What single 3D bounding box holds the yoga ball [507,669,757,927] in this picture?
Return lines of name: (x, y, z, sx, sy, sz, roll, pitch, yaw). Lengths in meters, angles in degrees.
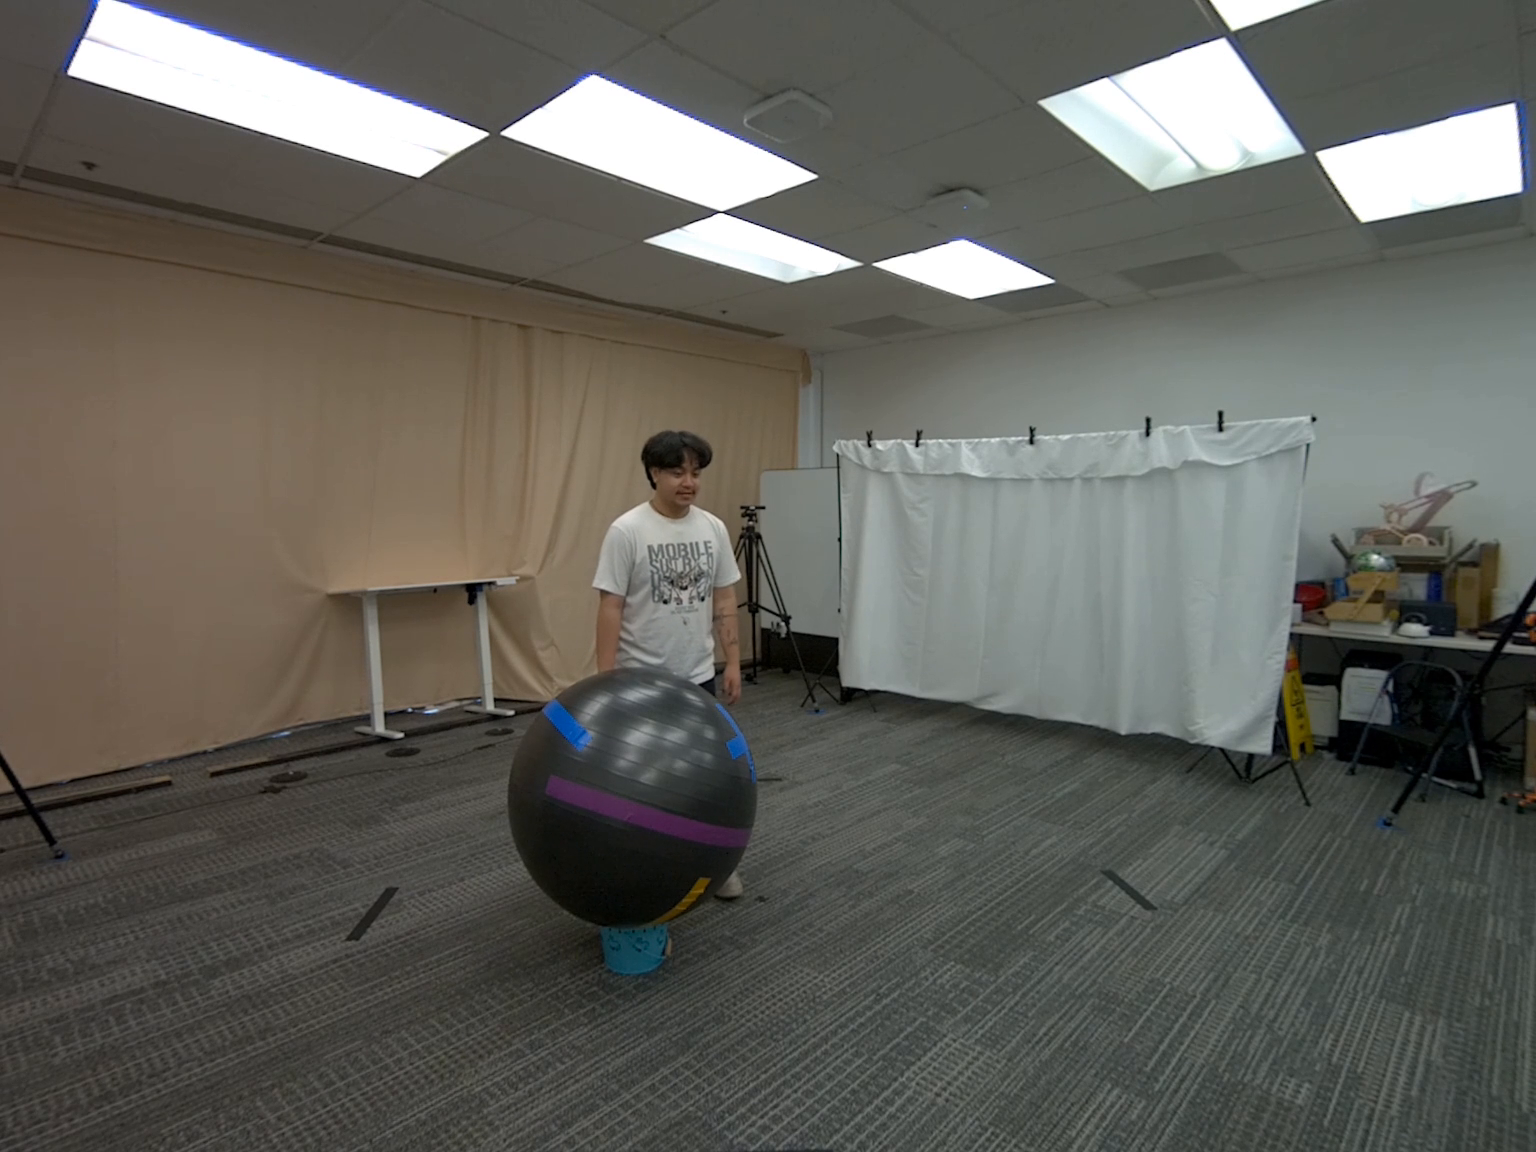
yoga ball: (-0.415, 0.665, 2.584, 0.757, 0.756, 0.760, 0, 4, -2)
